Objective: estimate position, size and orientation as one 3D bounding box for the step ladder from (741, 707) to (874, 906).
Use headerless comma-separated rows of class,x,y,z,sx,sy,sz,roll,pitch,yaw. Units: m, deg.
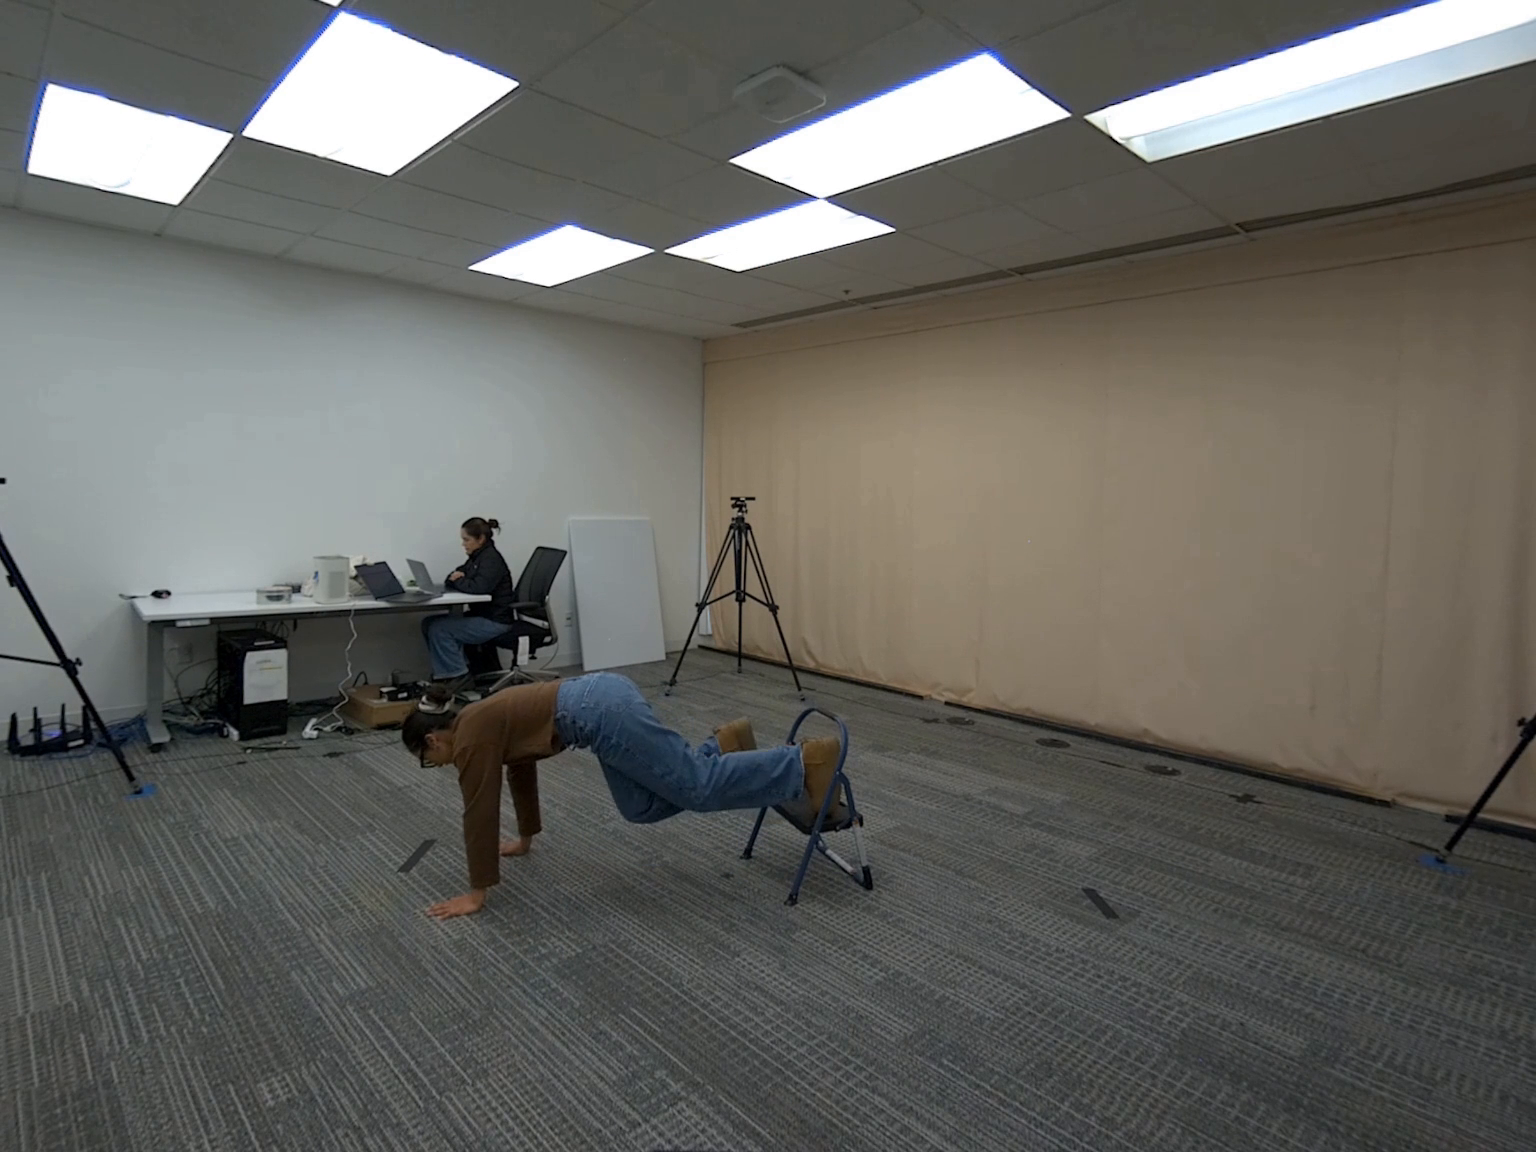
step ladder,0.142,0.811,3.126,0.343,0.605,0.439,0,4,-24
